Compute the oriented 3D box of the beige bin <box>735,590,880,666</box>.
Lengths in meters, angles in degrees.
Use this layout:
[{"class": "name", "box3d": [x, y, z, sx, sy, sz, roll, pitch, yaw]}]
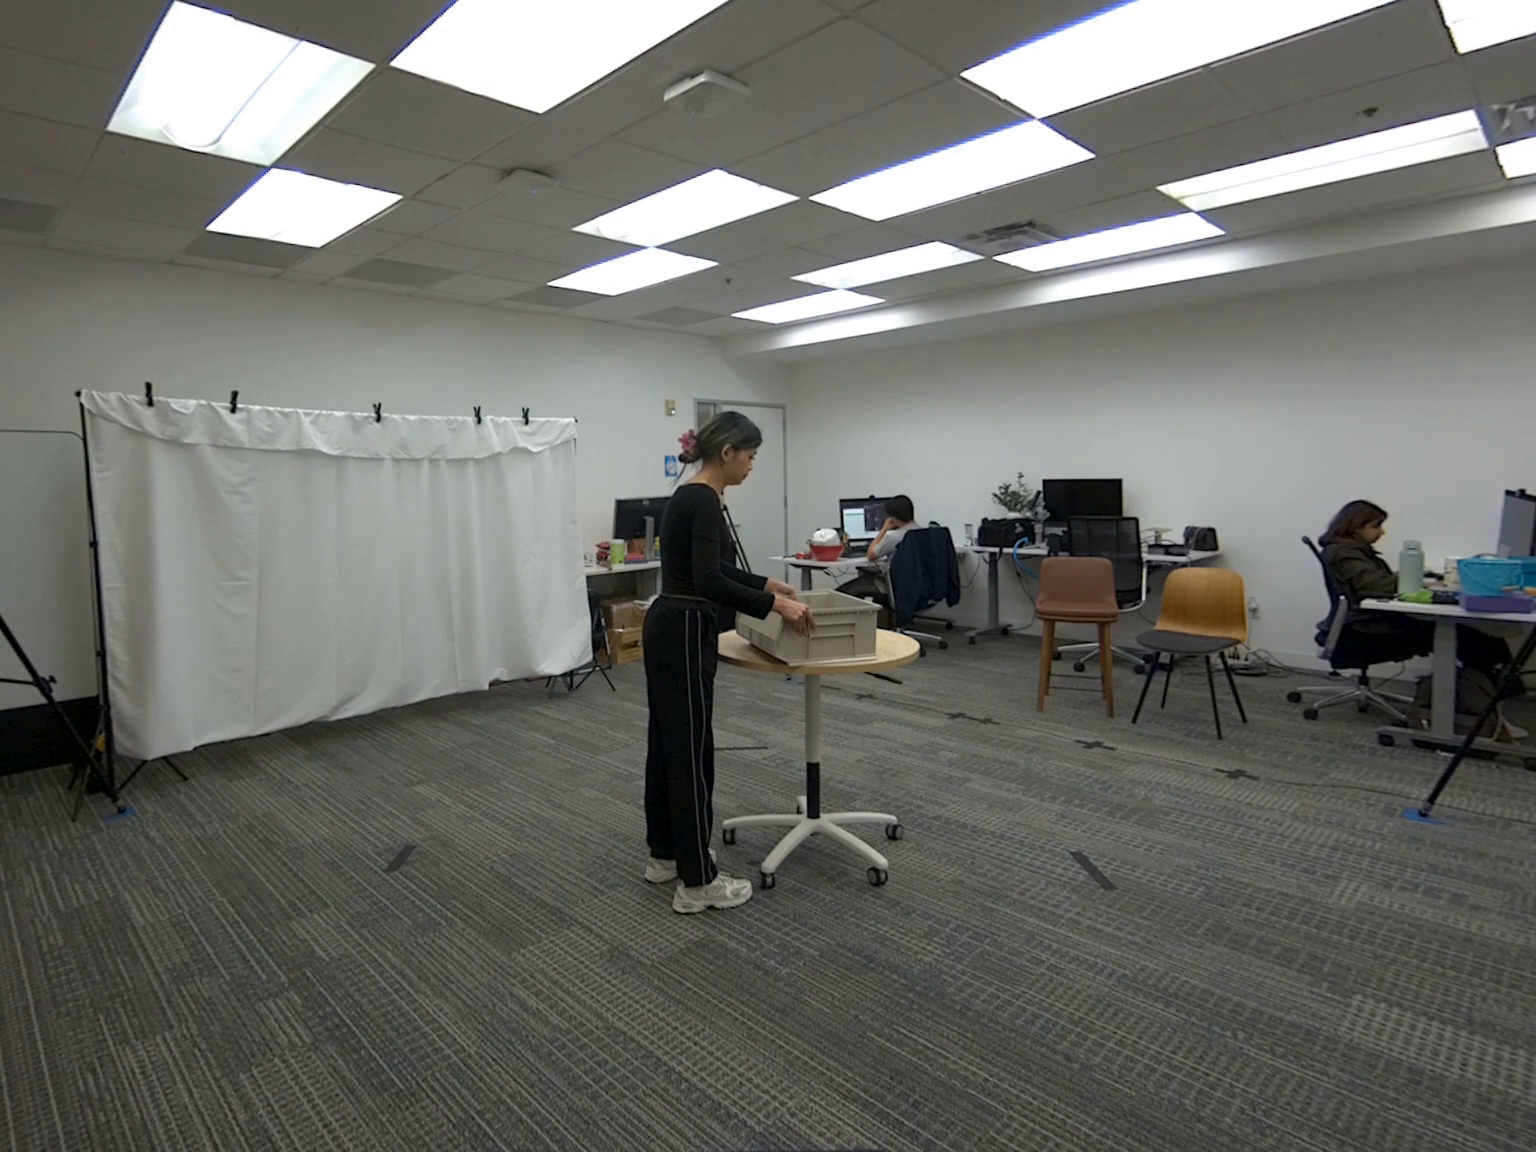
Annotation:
[{"class": "beige bin", "box3d": [0.128, 0.166, 2.964, 0.371, 0.188, 0.431, 0, 5, -18]}]
